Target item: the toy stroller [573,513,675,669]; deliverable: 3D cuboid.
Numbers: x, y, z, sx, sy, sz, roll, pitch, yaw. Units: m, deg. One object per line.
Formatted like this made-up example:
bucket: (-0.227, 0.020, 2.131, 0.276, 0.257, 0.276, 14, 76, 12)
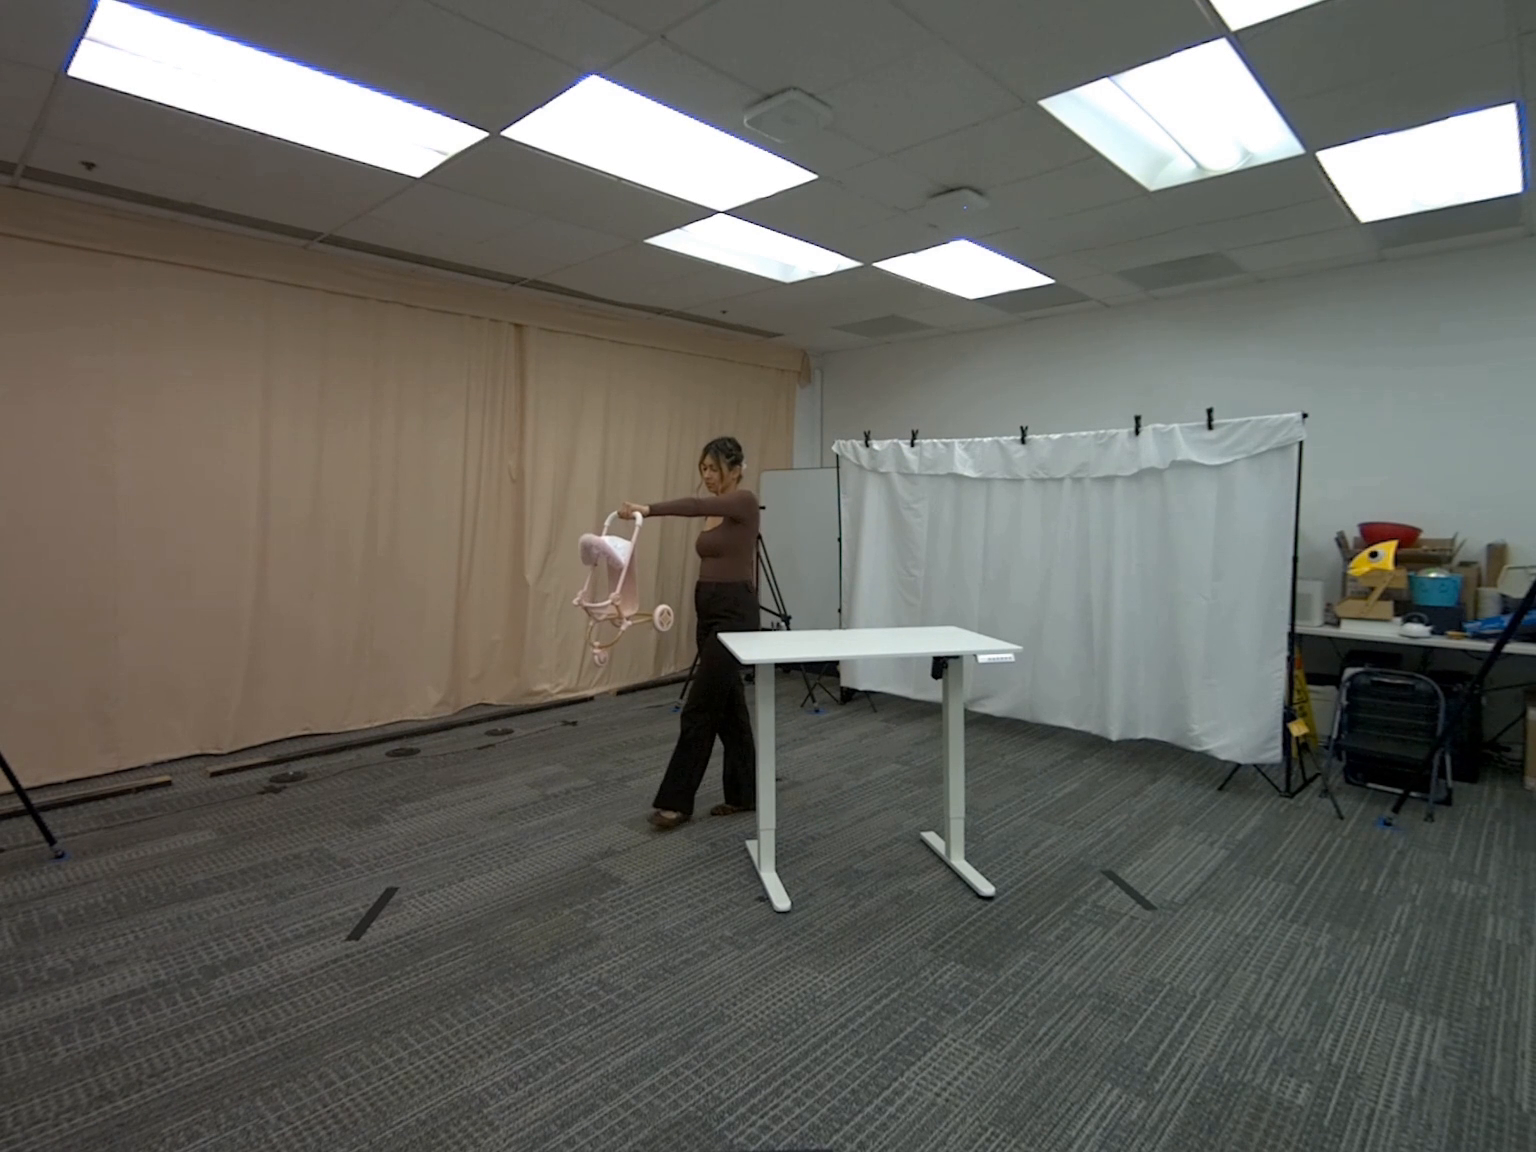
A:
toy stroller: (-0.607, 0.054, 3.268, 0.291, 0.528, 0.334, 6, 22, 44)
